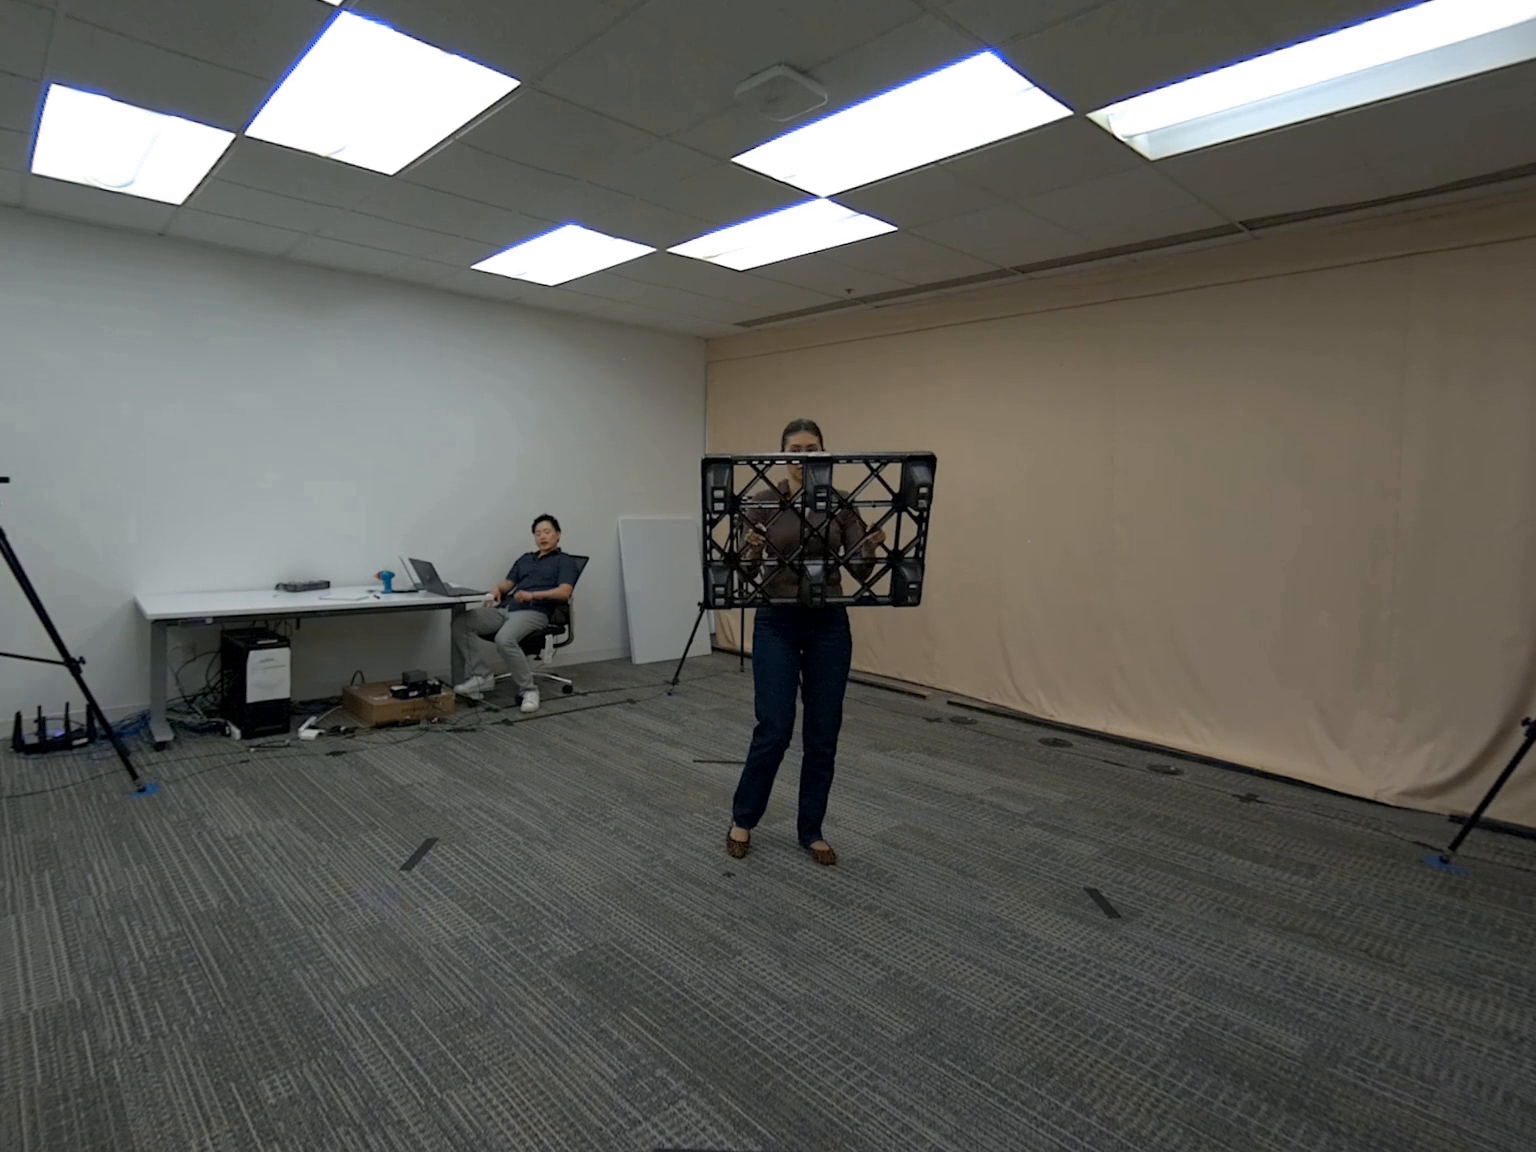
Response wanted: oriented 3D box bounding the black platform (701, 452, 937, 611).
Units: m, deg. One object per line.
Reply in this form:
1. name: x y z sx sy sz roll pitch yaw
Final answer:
1. black platform: 0.166 -0.129 2.933 0.805 0.594 0.146 0 27 -1
